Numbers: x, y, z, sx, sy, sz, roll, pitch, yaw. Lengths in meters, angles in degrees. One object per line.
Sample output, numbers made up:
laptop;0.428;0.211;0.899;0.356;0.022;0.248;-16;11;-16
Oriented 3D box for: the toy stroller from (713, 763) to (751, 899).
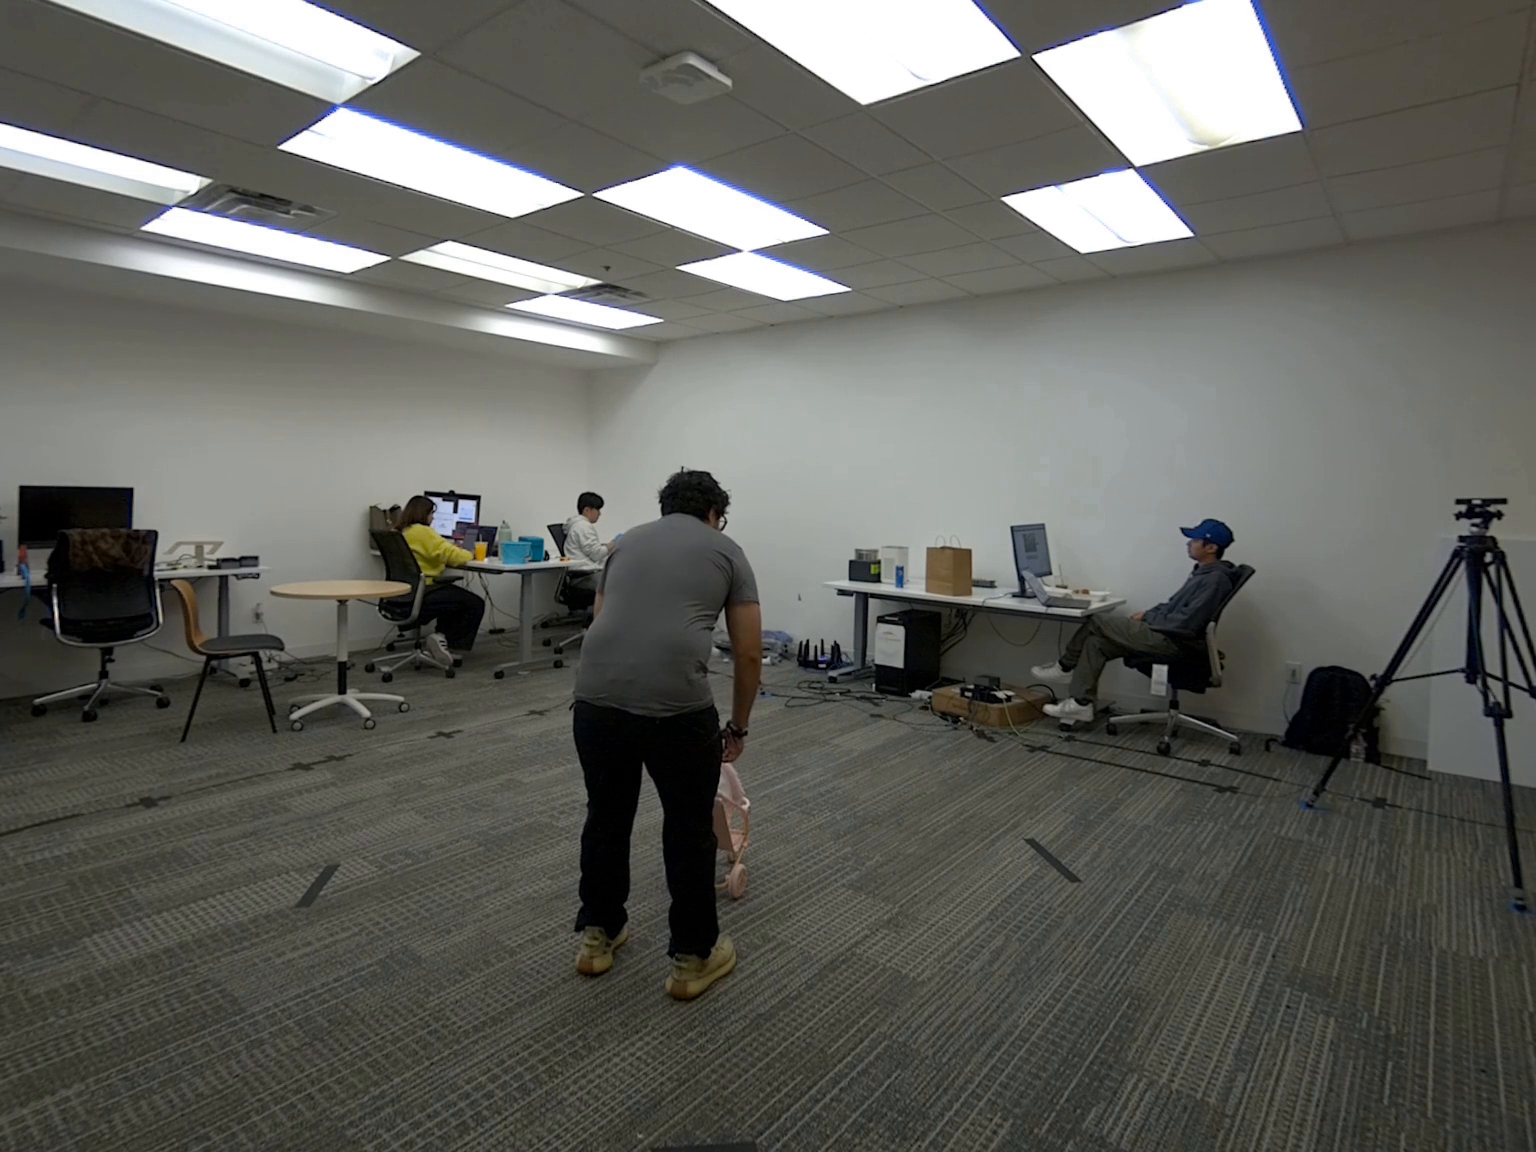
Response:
toy stroller;-0.199;0.859;2.997;0.289;0.525;0.339;3;20;25
